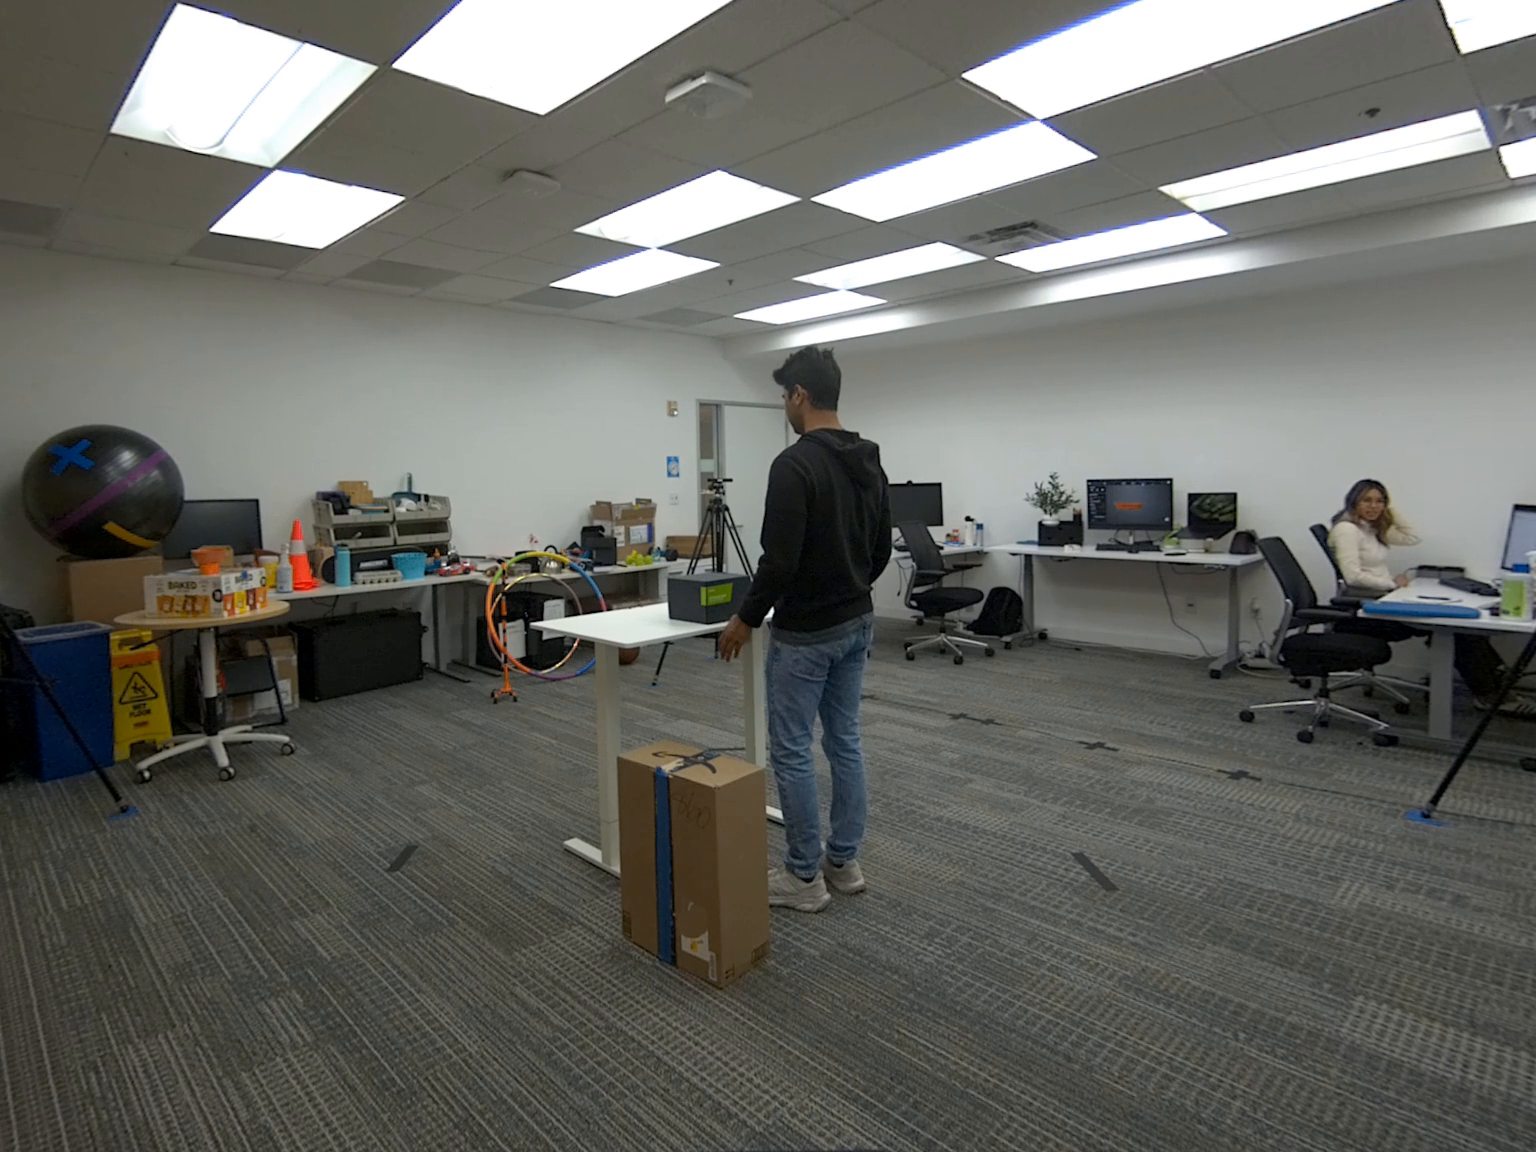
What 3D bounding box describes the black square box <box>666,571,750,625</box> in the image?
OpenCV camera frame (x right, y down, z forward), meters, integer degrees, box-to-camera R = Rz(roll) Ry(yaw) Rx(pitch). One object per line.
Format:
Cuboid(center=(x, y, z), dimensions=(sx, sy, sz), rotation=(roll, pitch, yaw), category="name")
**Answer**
Cuboid(center=(-0.212, 0.077, 3.168), dimensions=(0.224, 0.155, 0.222), rotation=(4, 8, 44), category="black square box")
